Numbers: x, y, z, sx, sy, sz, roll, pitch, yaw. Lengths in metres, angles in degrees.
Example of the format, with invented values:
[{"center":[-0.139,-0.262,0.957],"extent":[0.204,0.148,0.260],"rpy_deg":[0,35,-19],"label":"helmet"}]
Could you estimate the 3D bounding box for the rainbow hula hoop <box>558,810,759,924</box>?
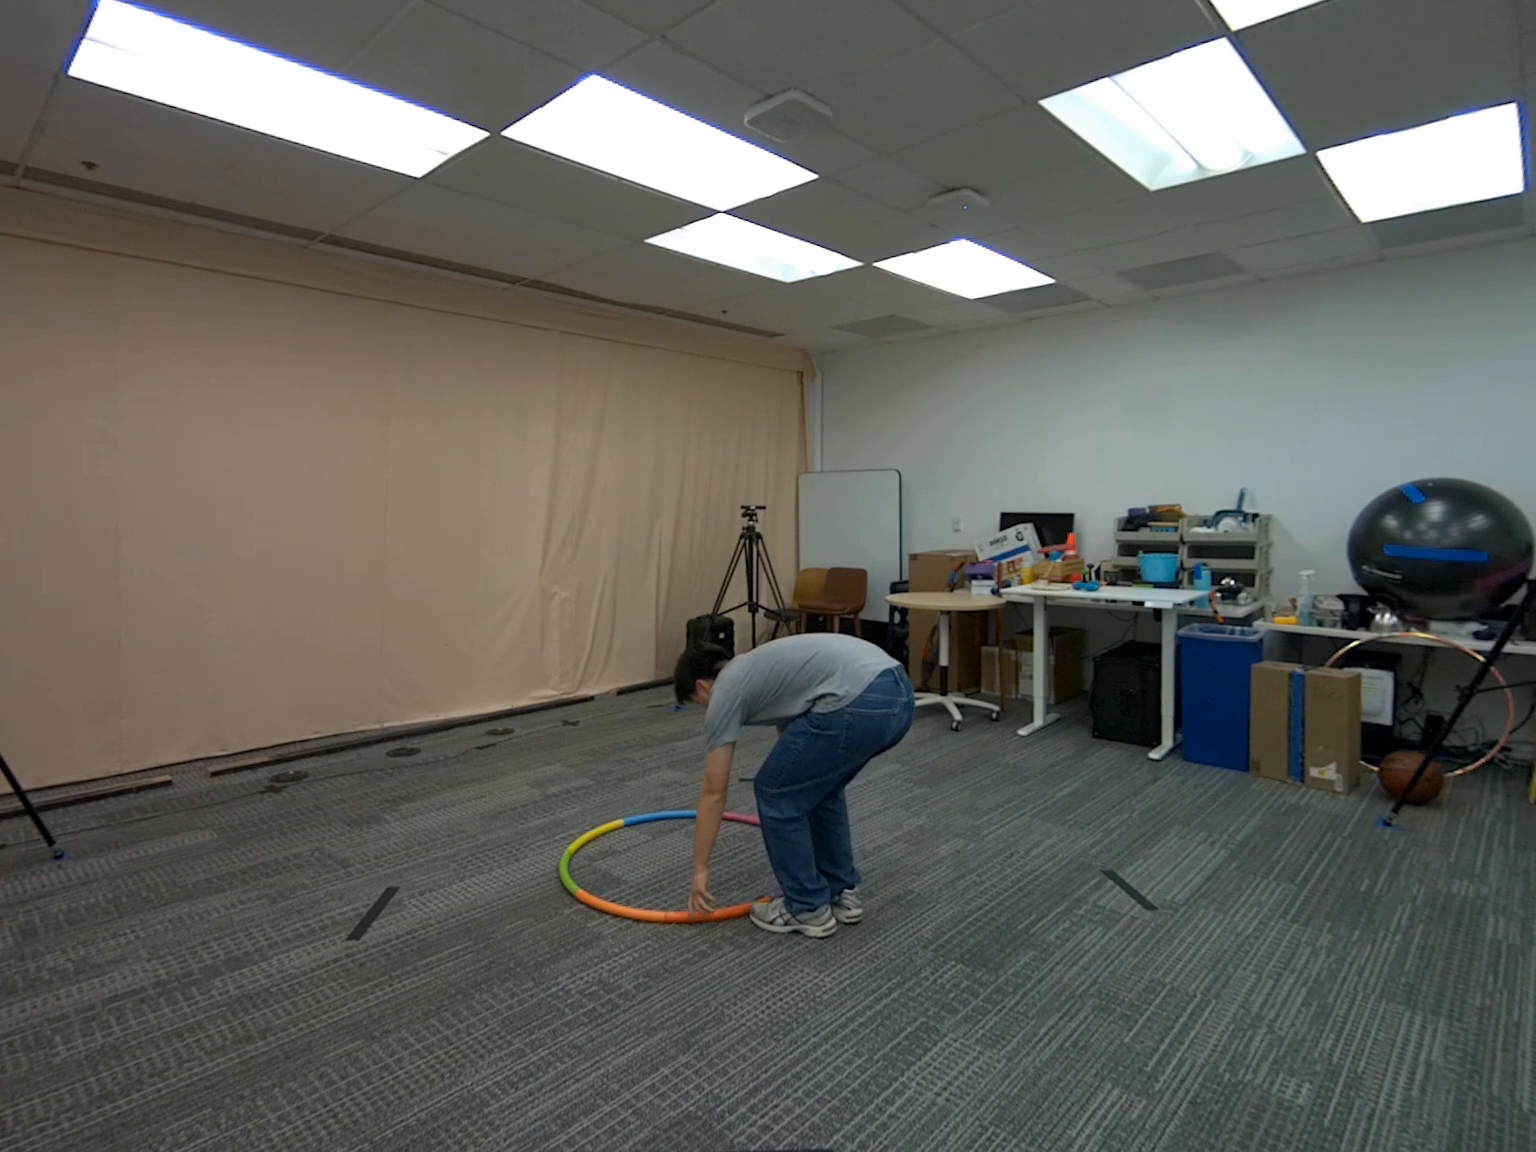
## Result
[{"center":[-0.311,1.089,3.290],"extent":[0.978,0.035,0.982],"rpy_deg":[-1,4,-2],"label":"rainbow hula hoop"}]
